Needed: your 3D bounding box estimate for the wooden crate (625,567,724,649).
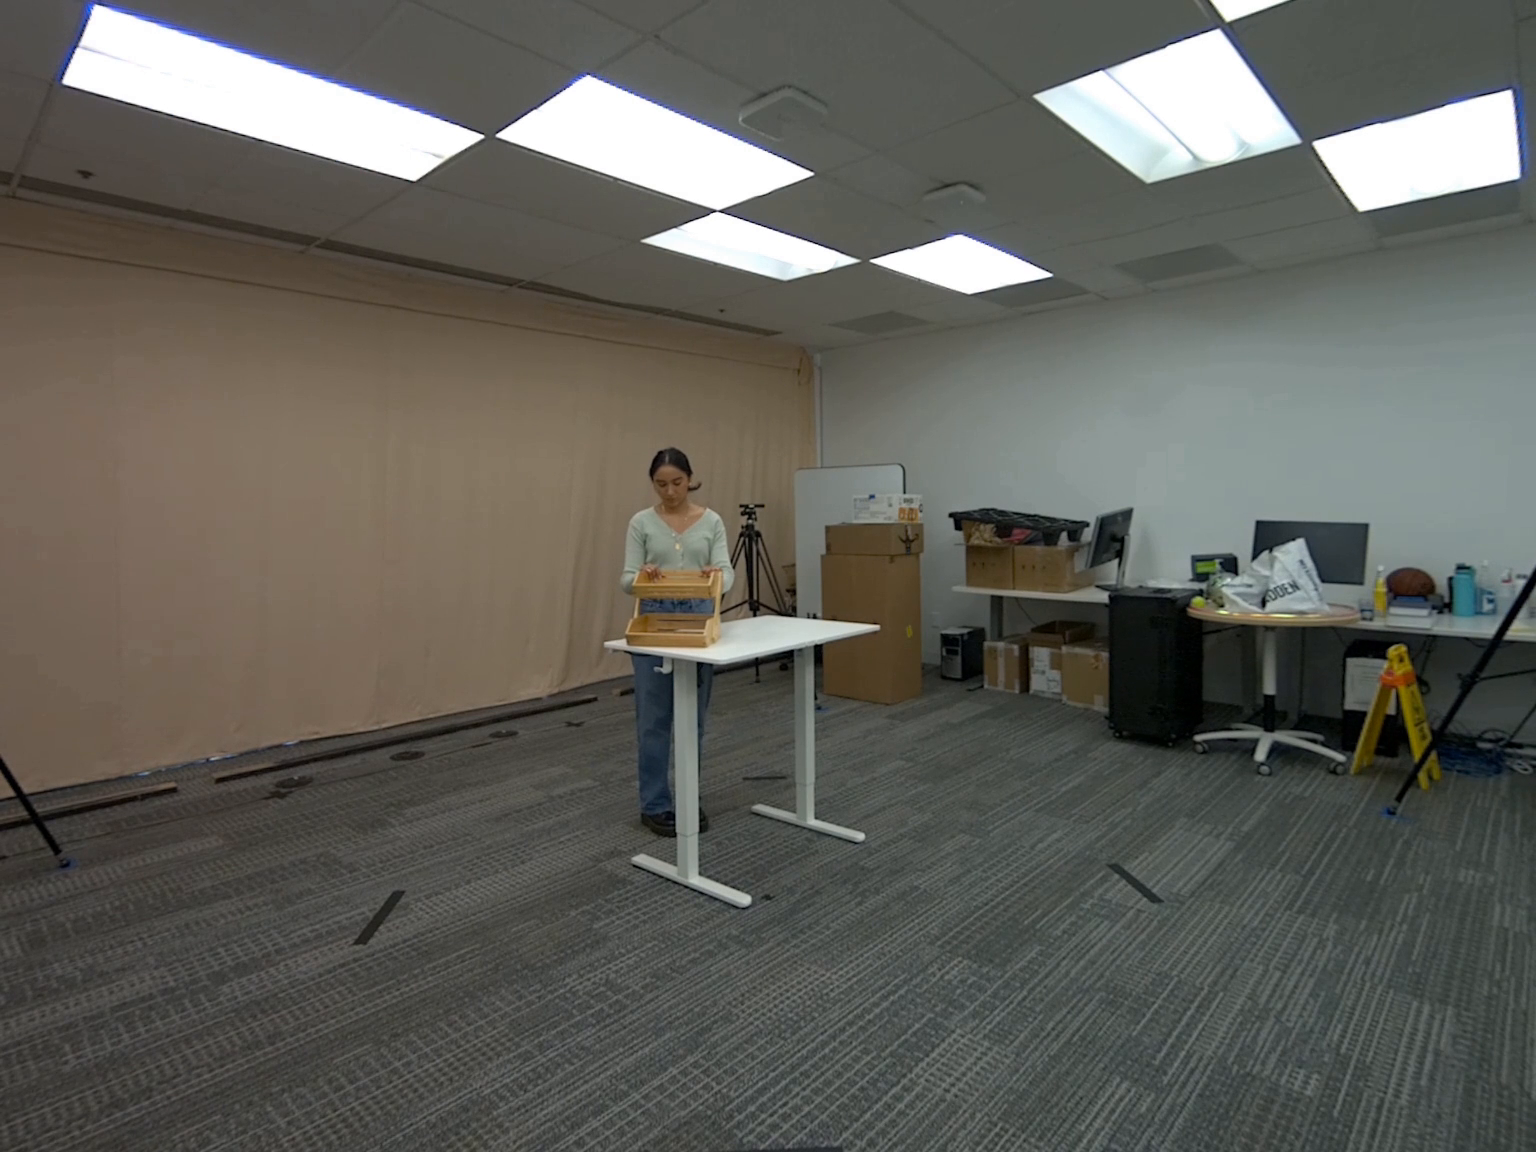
[{"bbox_3d":[-0.351,0.113,3.177,0.329,0.273,0.298,-1,3,12],"label":"wooden crate"}]
